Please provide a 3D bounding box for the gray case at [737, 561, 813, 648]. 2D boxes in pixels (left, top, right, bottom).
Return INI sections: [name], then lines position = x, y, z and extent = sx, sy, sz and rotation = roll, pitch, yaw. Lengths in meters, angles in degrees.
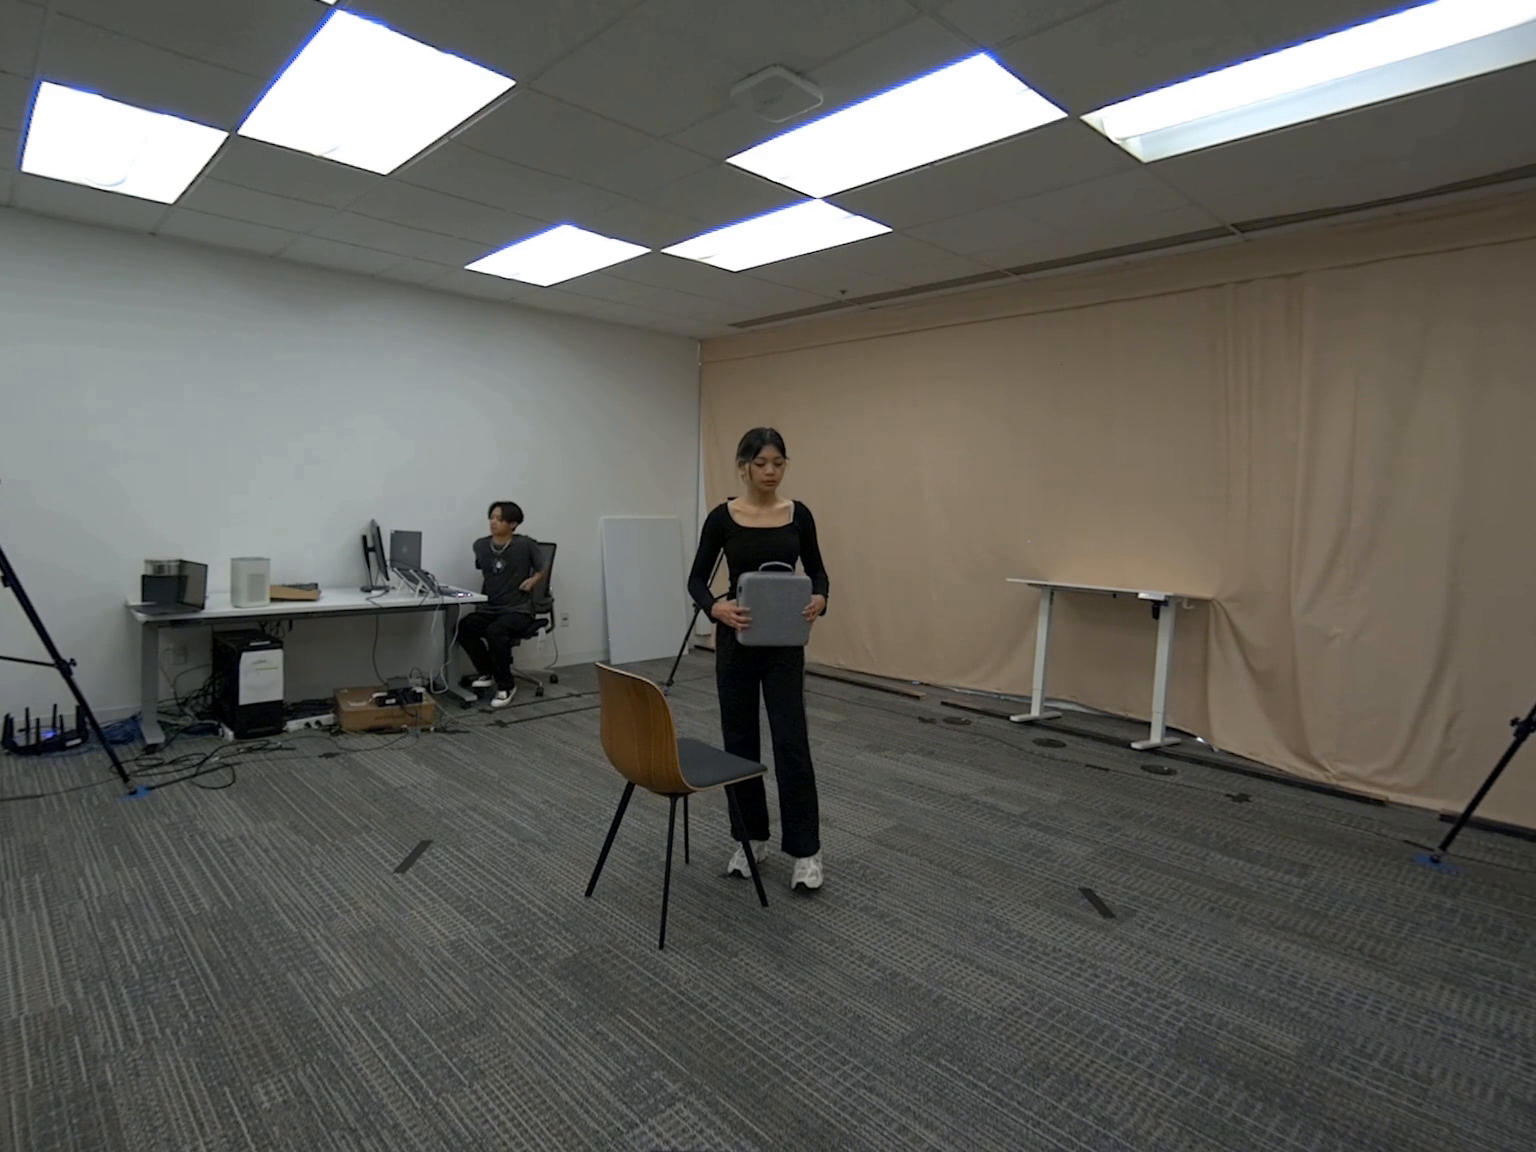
[gray case]
position = 0.011, 0.113, 2.930
extent = 0.255, 0.259, 0.105
rotation = 1, 6, -10
